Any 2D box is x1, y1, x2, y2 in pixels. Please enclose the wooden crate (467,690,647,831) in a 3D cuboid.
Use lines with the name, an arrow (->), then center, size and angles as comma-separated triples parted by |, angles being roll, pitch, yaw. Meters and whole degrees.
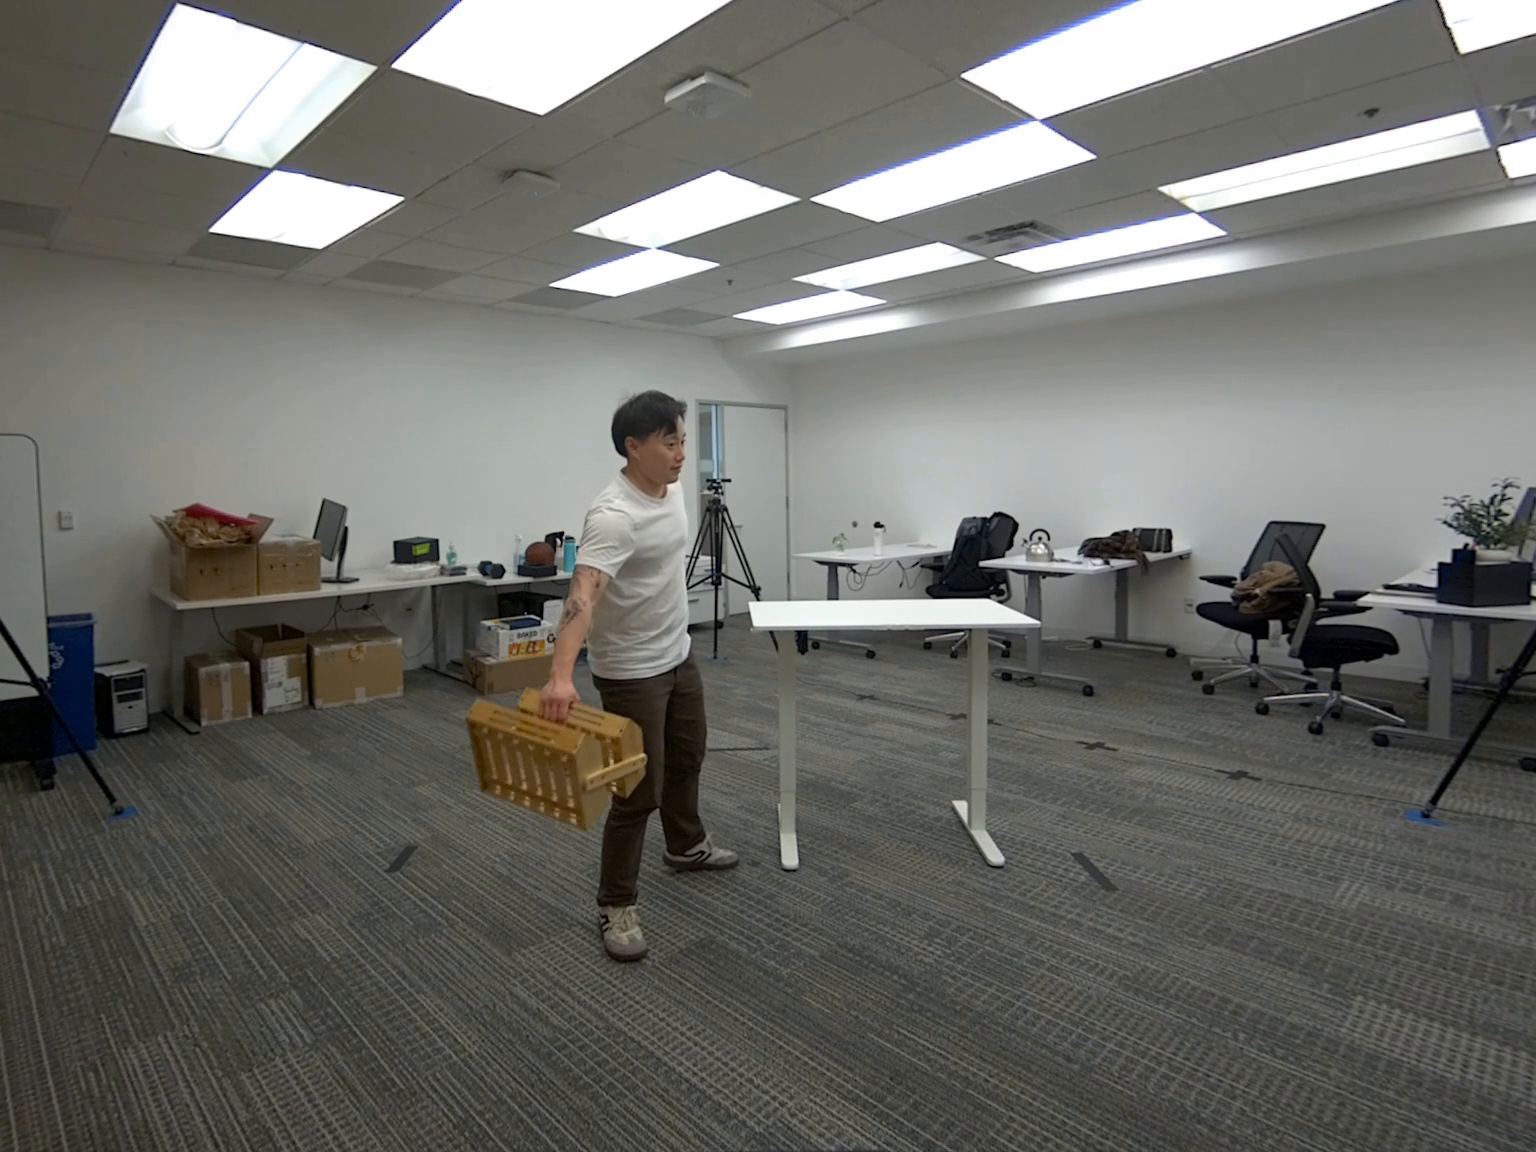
wooden crate -> -0.490, 0.403, 2.041 | 0.332, 0.295, 0.273 | 12, 31, 21
